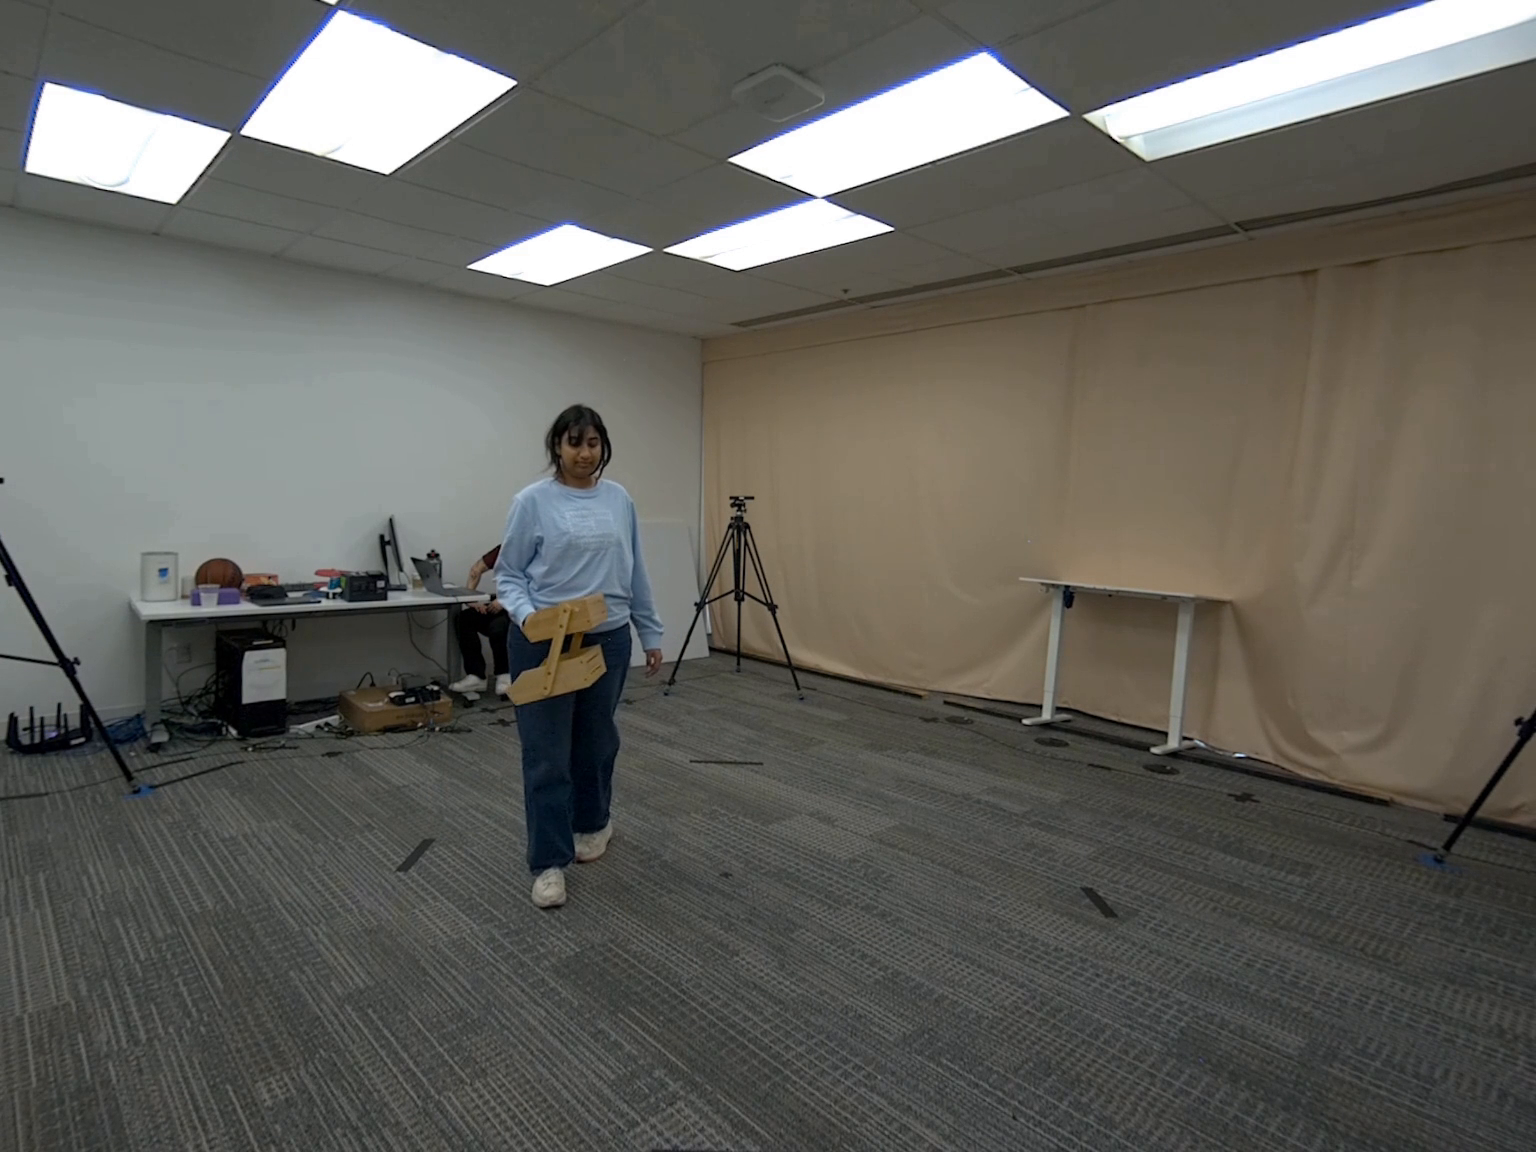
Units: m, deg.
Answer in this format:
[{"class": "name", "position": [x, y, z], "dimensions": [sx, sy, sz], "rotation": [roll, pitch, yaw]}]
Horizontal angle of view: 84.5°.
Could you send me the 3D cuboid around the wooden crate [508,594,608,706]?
[{"class": "wooden crate", "position": [-0.693, 0.231, 2.663], "dimensions": [0.302, 0.273, 0.325], "rotation": [-17, 2, -1]}]
